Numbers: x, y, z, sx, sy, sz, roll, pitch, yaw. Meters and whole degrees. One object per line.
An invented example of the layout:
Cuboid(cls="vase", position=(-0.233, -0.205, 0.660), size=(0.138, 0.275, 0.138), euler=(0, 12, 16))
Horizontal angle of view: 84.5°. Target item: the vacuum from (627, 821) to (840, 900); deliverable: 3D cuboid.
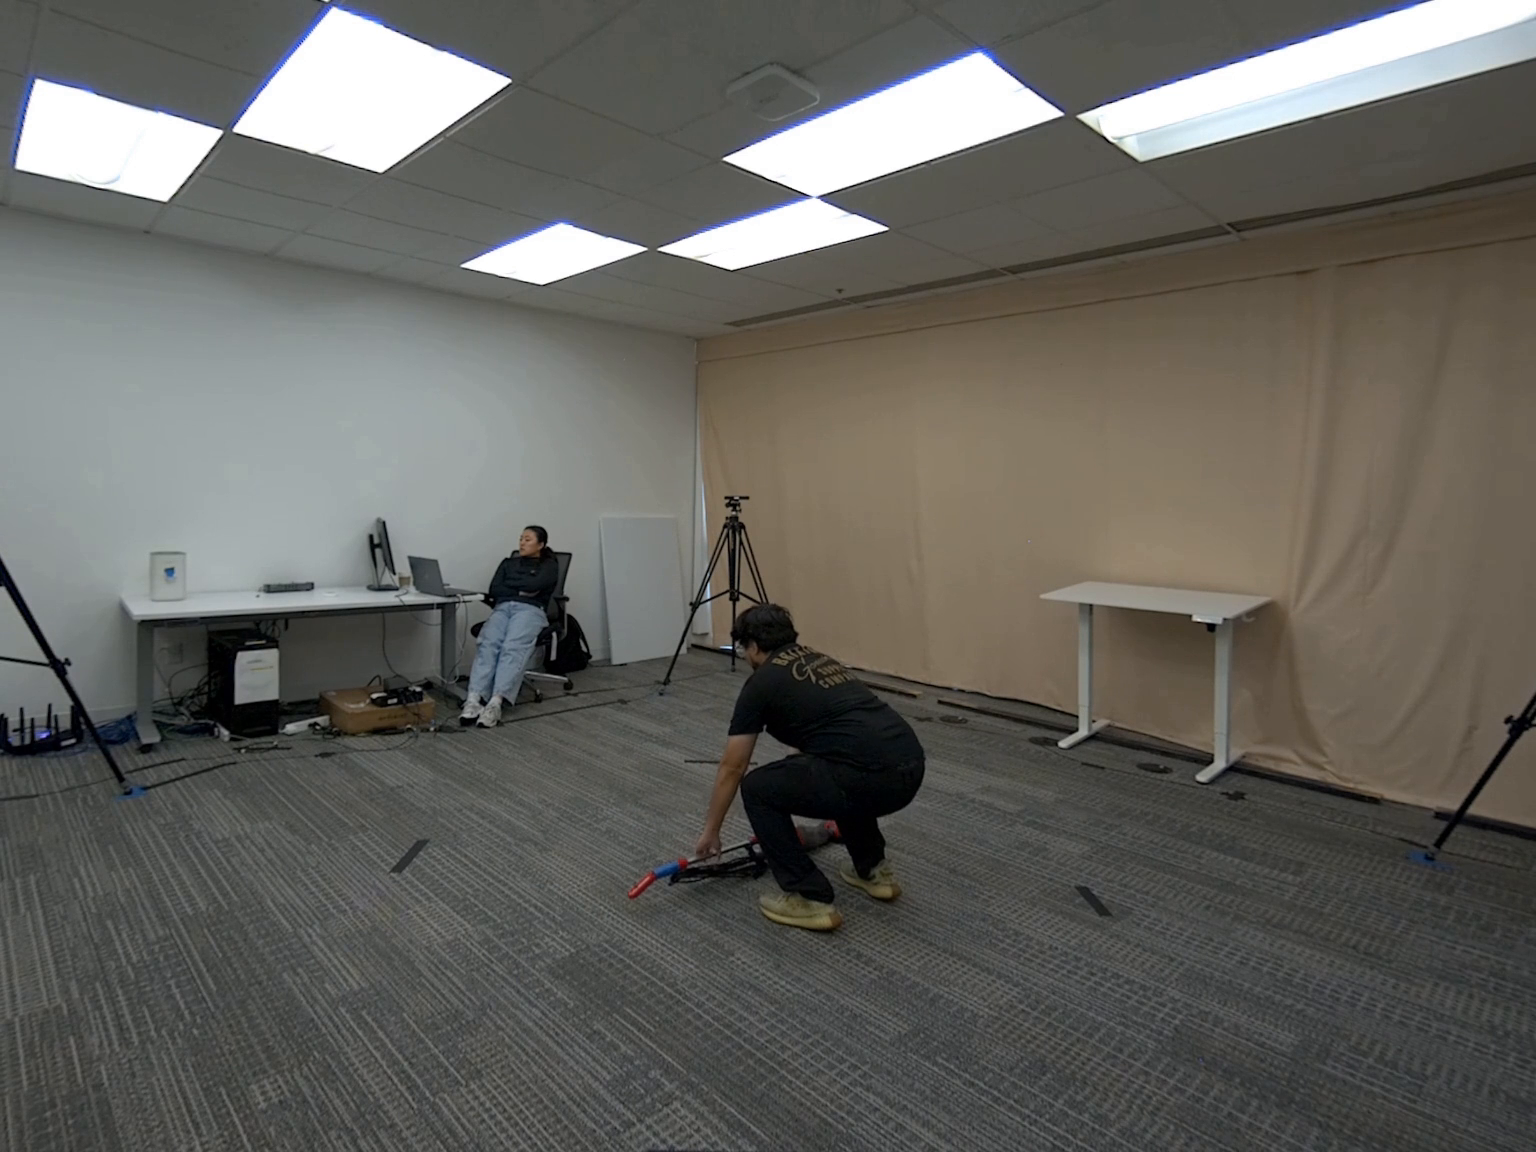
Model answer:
Cuboid(cls="vacuum", position=(-0.082, 1.040, 3.144), size=(1.026, 0.143, 0.259), euler=(-4, 11, -41))
